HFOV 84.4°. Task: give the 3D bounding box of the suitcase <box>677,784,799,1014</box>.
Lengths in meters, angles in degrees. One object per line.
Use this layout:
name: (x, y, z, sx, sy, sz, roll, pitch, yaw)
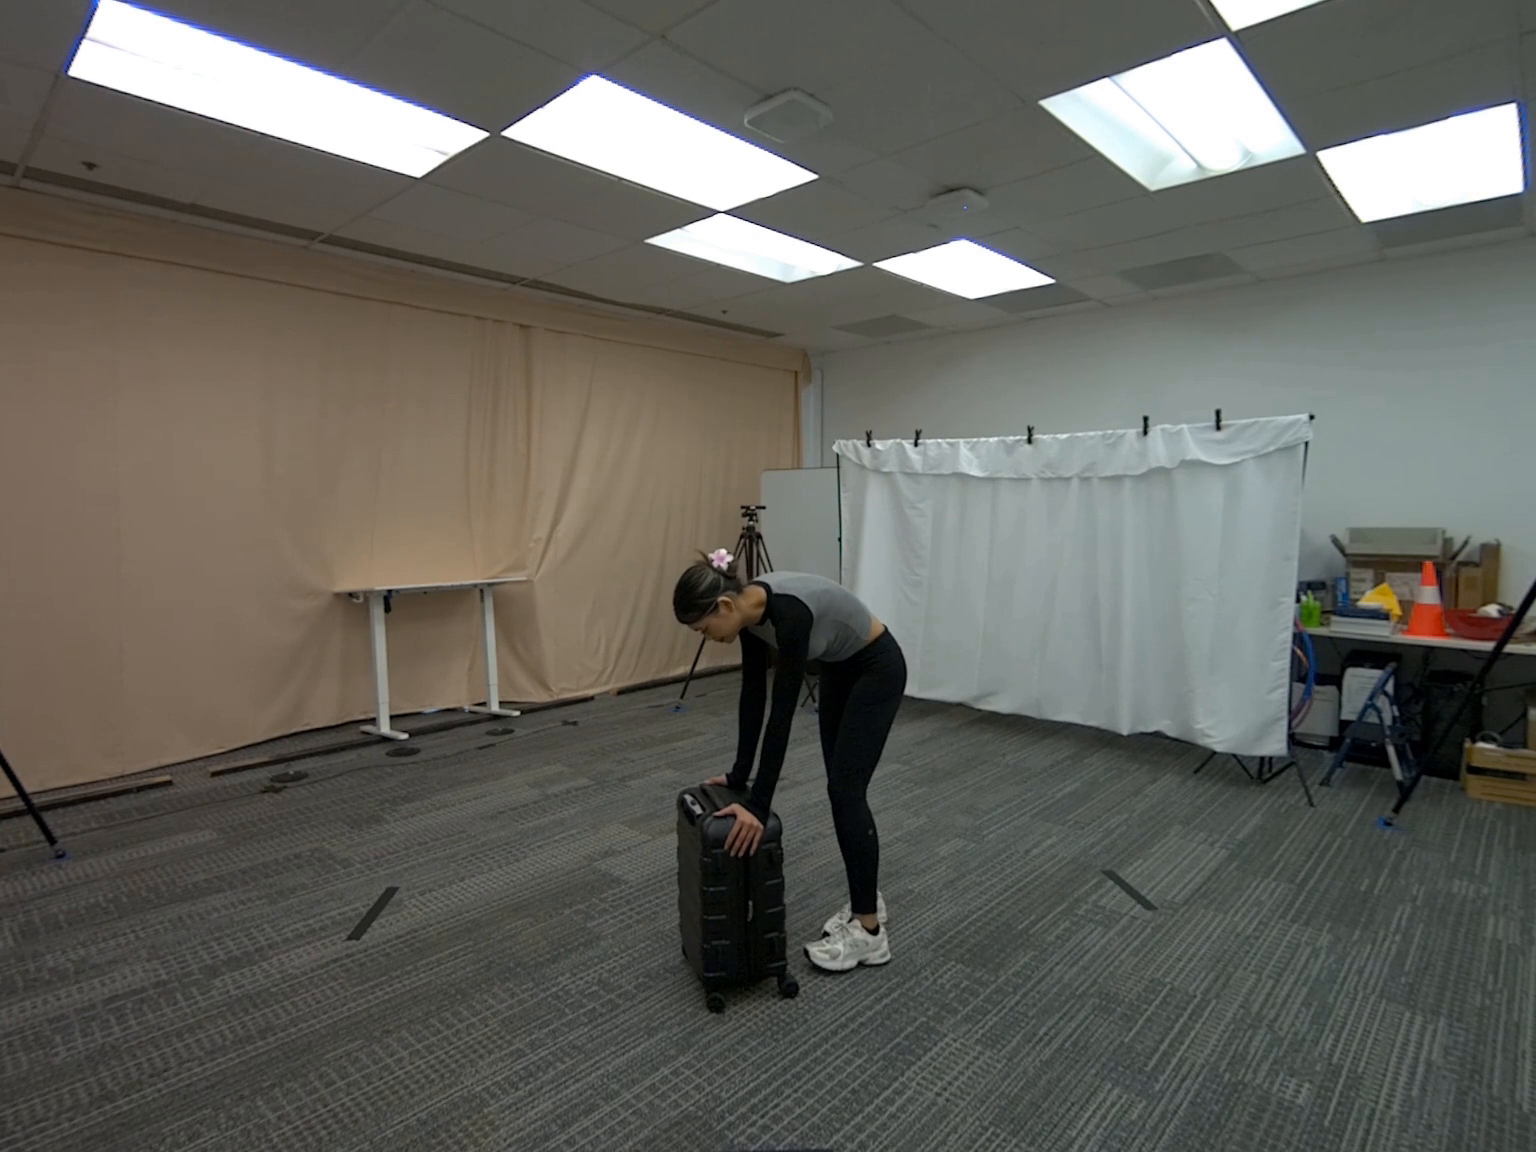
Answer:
suitcase: (-0.107, 0.912, 2.483, 0.244, 0.548, 0.383, -1, 3, -19)
